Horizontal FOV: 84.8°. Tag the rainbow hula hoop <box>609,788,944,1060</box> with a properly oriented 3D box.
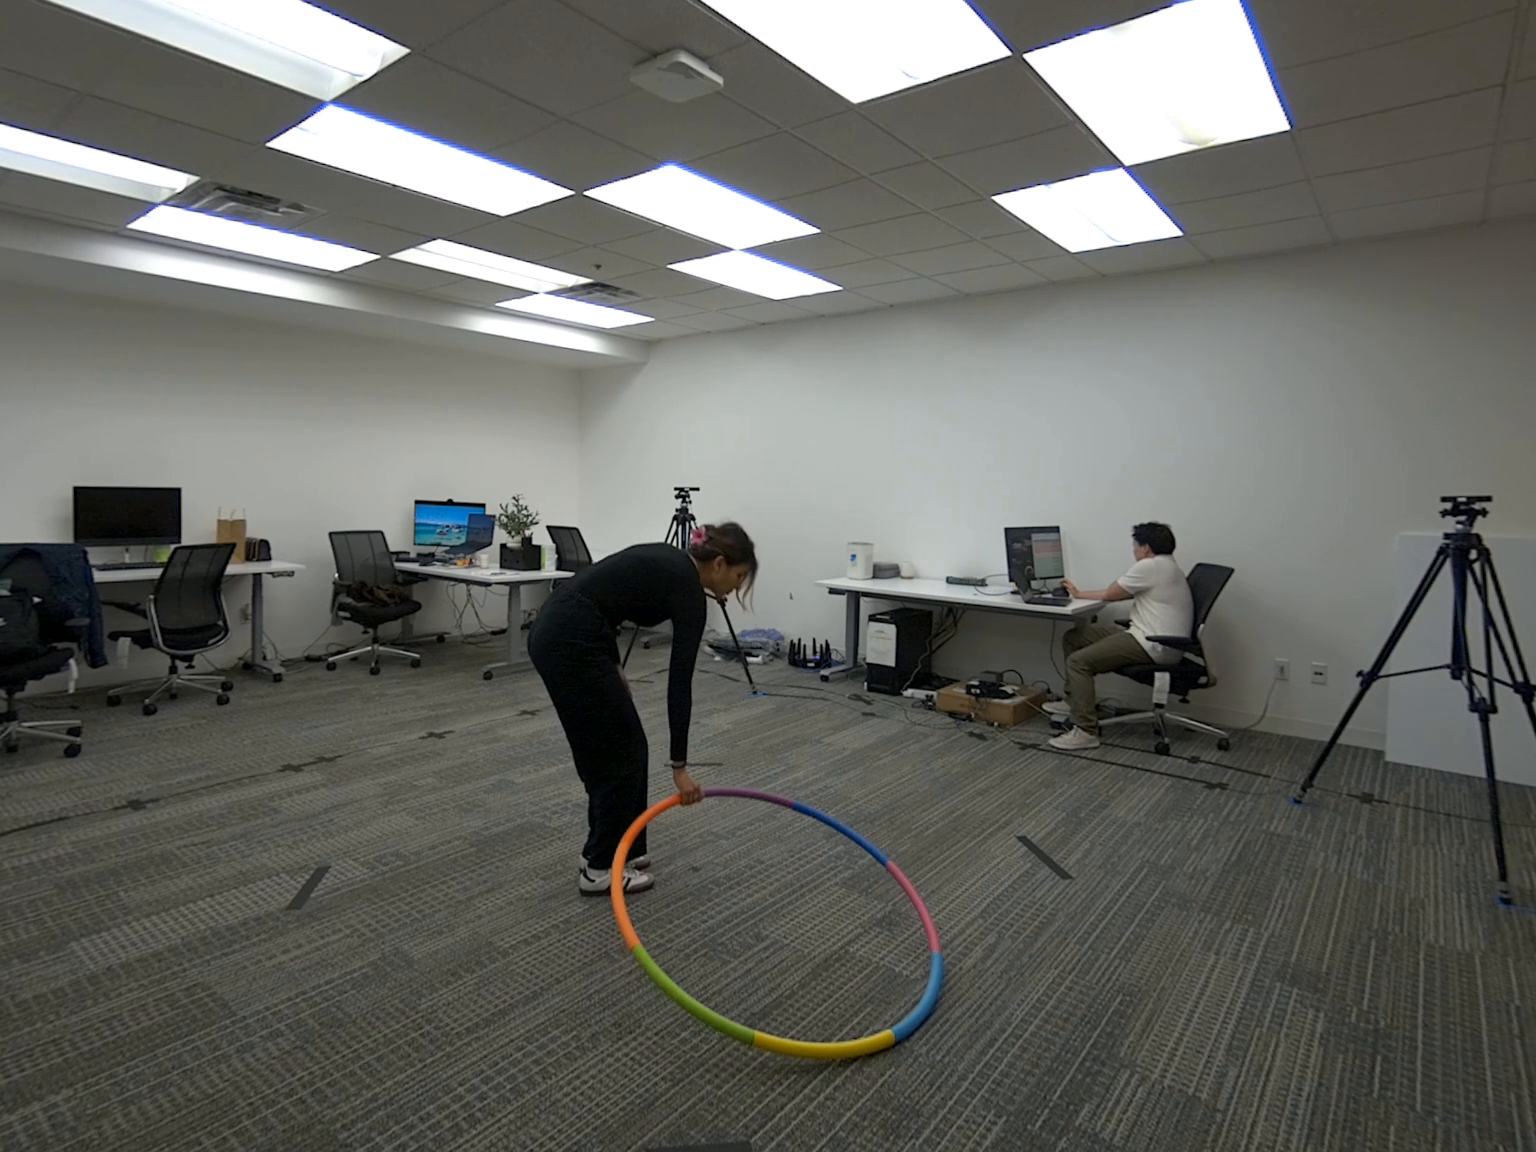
[{"bbox_3d":[0.035,0.946,2.491,0.972,0.035,0.998,12,21,-6],"label":"rainbow hula hoop"}]
